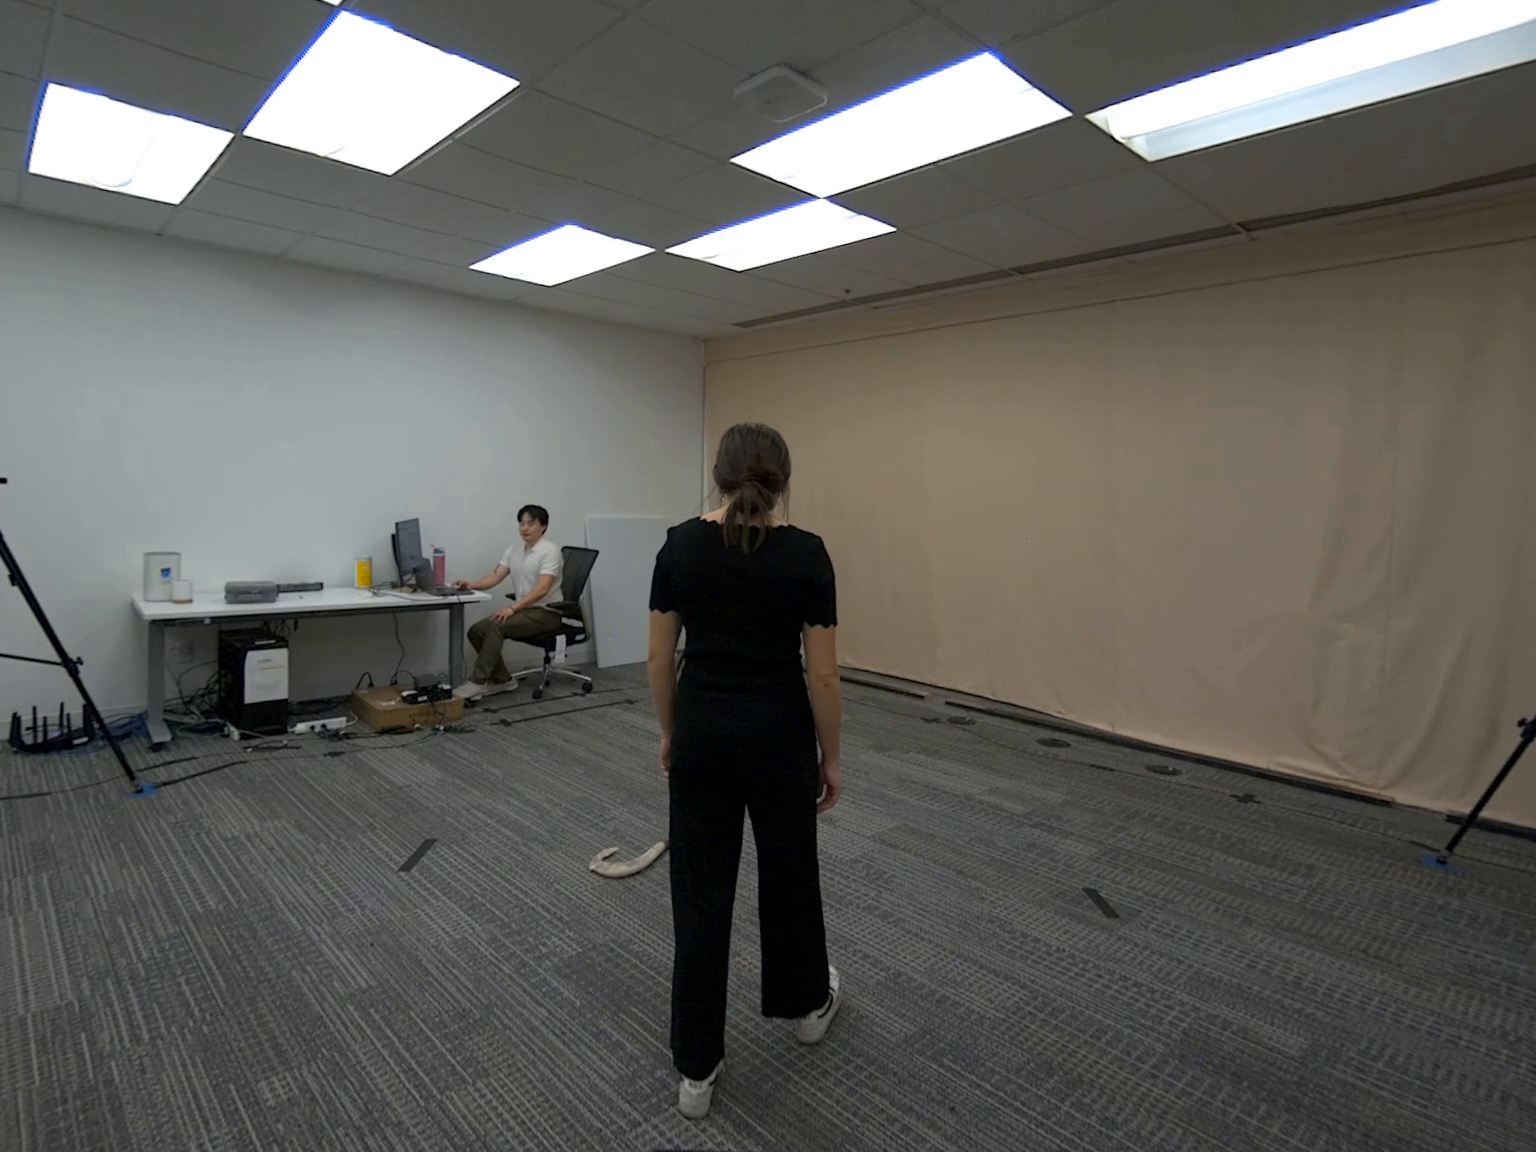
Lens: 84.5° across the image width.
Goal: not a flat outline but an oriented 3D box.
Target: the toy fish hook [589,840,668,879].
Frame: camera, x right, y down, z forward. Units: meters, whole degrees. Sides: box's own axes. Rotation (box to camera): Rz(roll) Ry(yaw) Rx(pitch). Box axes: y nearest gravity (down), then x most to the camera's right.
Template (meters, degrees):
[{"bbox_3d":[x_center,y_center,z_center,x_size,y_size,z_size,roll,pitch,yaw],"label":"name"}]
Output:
[{"bbox_3d":[-0.492,1.059,3.282,0.230,0.048,0.496,6,6,34],"label":"toy fish hook"}]
